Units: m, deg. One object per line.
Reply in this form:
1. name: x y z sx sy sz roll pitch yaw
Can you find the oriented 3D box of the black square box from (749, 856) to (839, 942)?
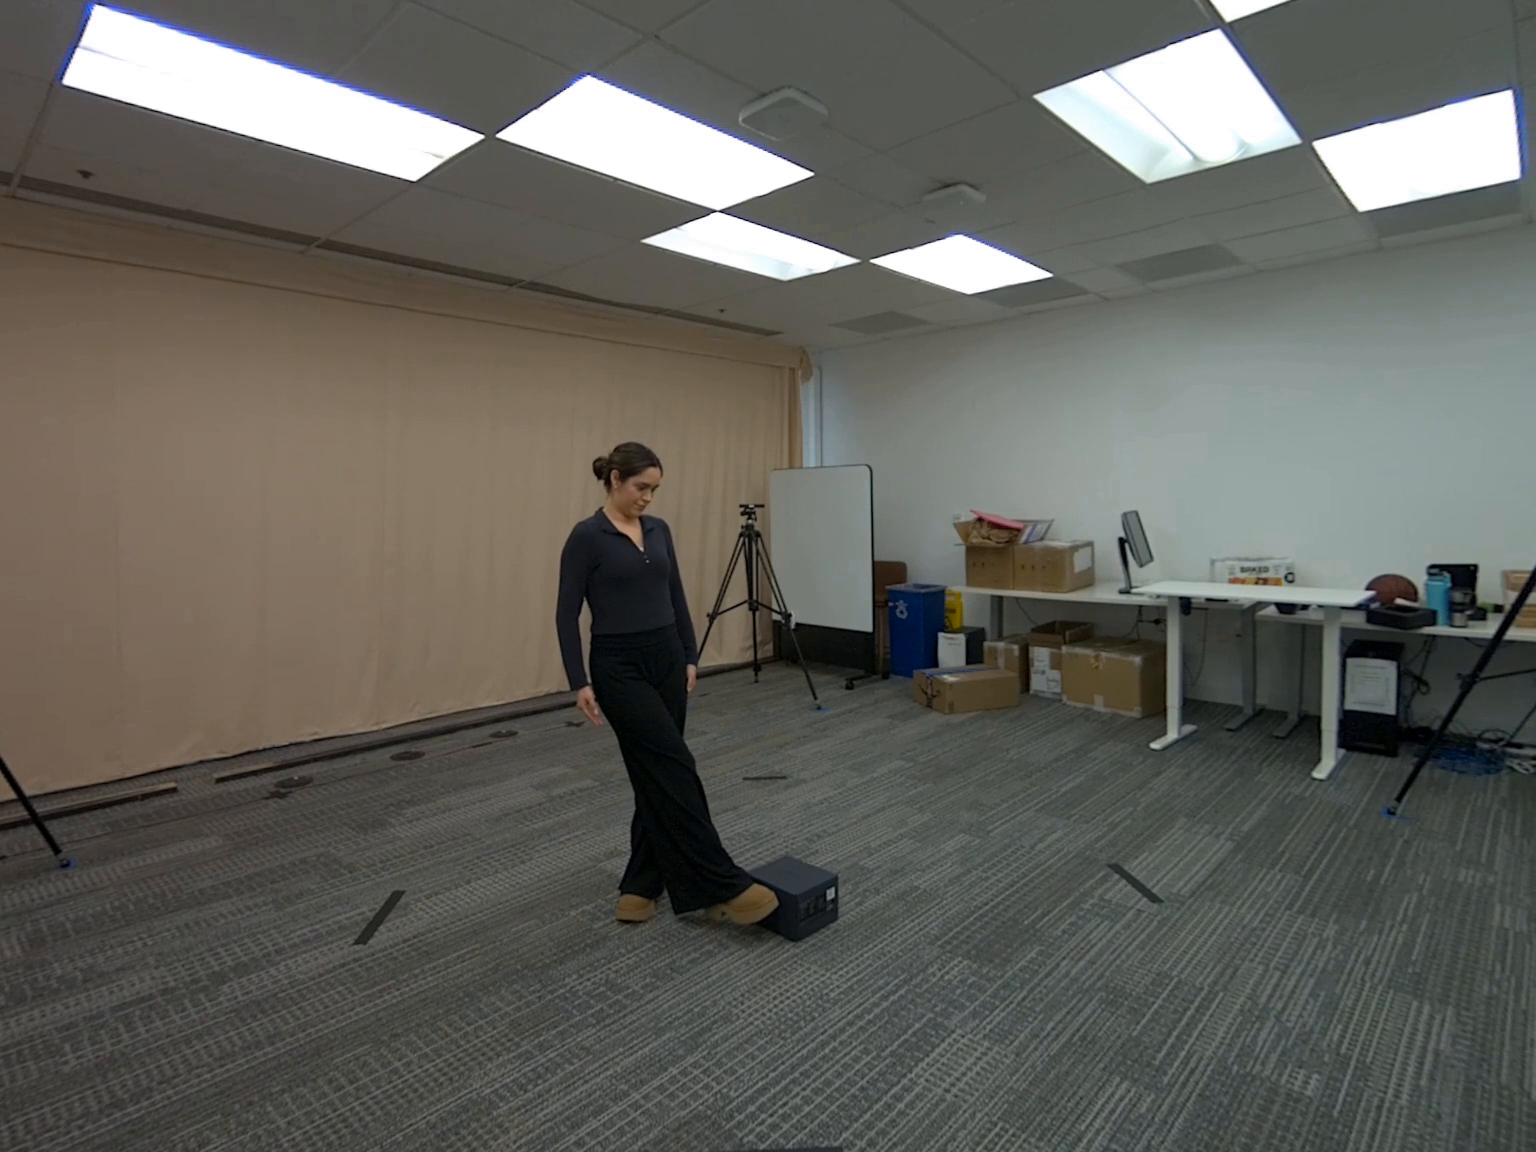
1. black square box: 0.083 1.073 2.809 0.235 0.155 0.210 4 7 44
